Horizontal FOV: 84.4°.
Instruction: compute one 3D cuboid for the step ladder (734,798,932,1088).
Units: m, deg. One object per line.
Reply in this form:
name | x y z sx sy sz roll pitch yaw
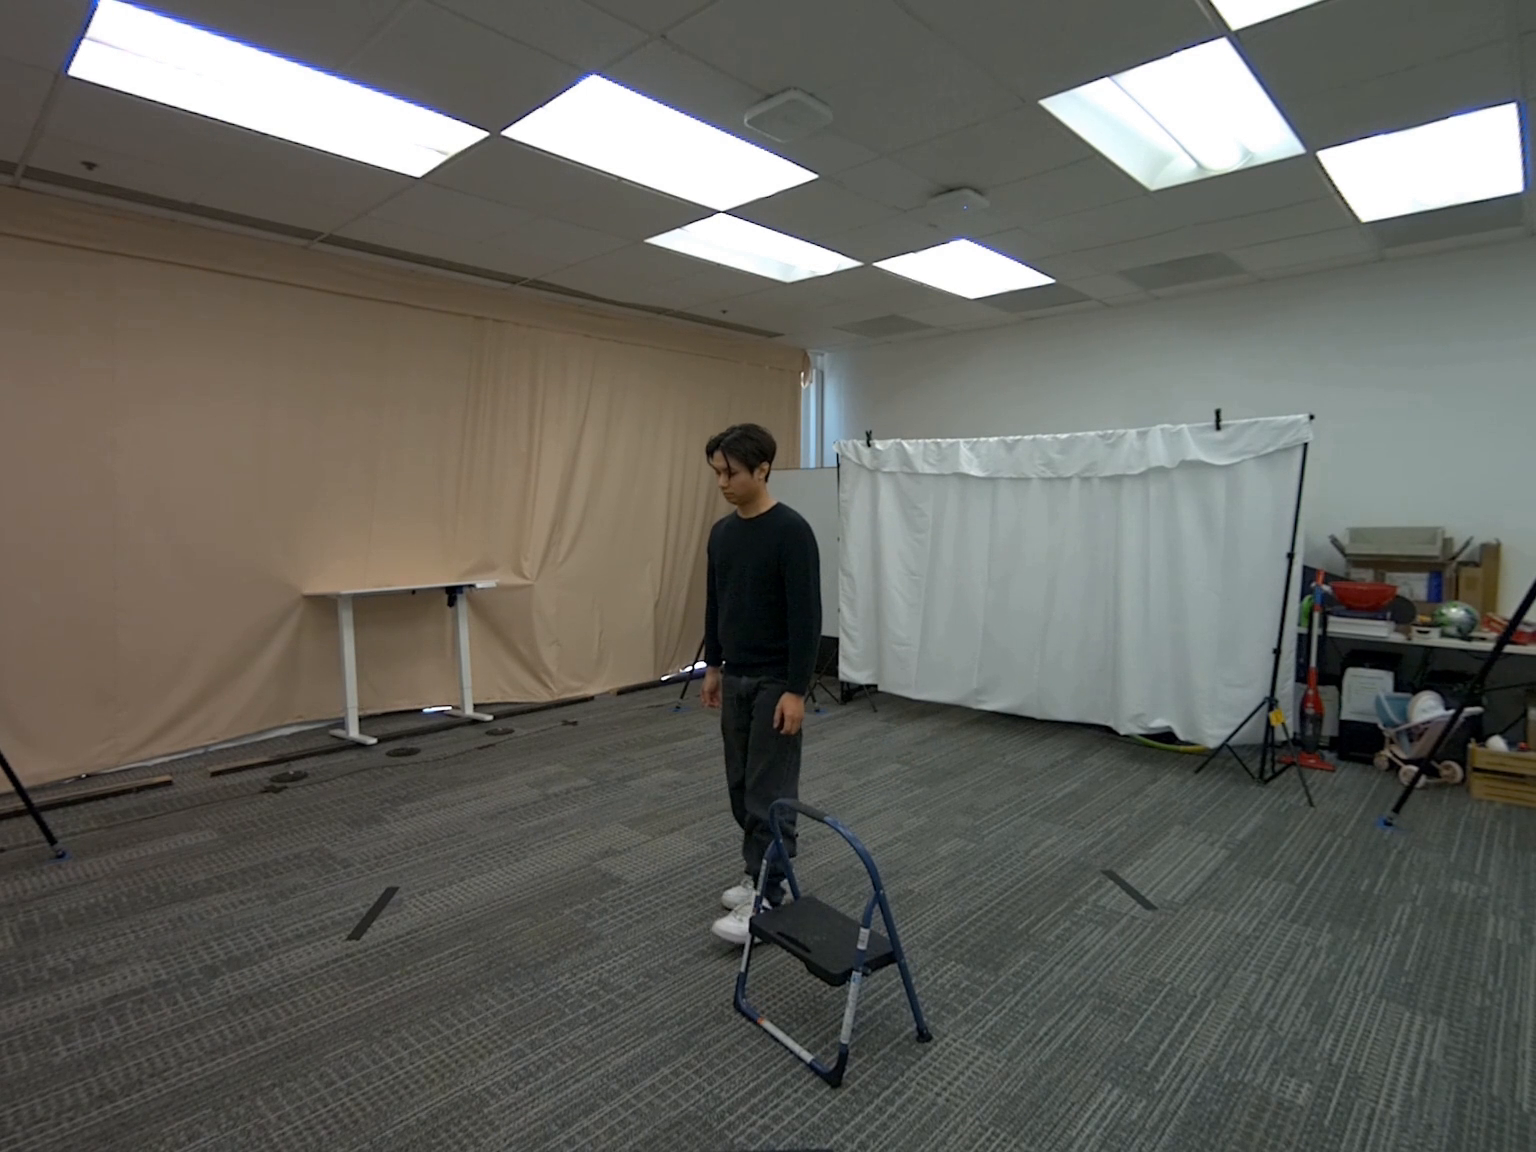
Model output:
step ladder | 0.167 0.904 2.252 0.339 0.605 0.445 -2 4 -39
